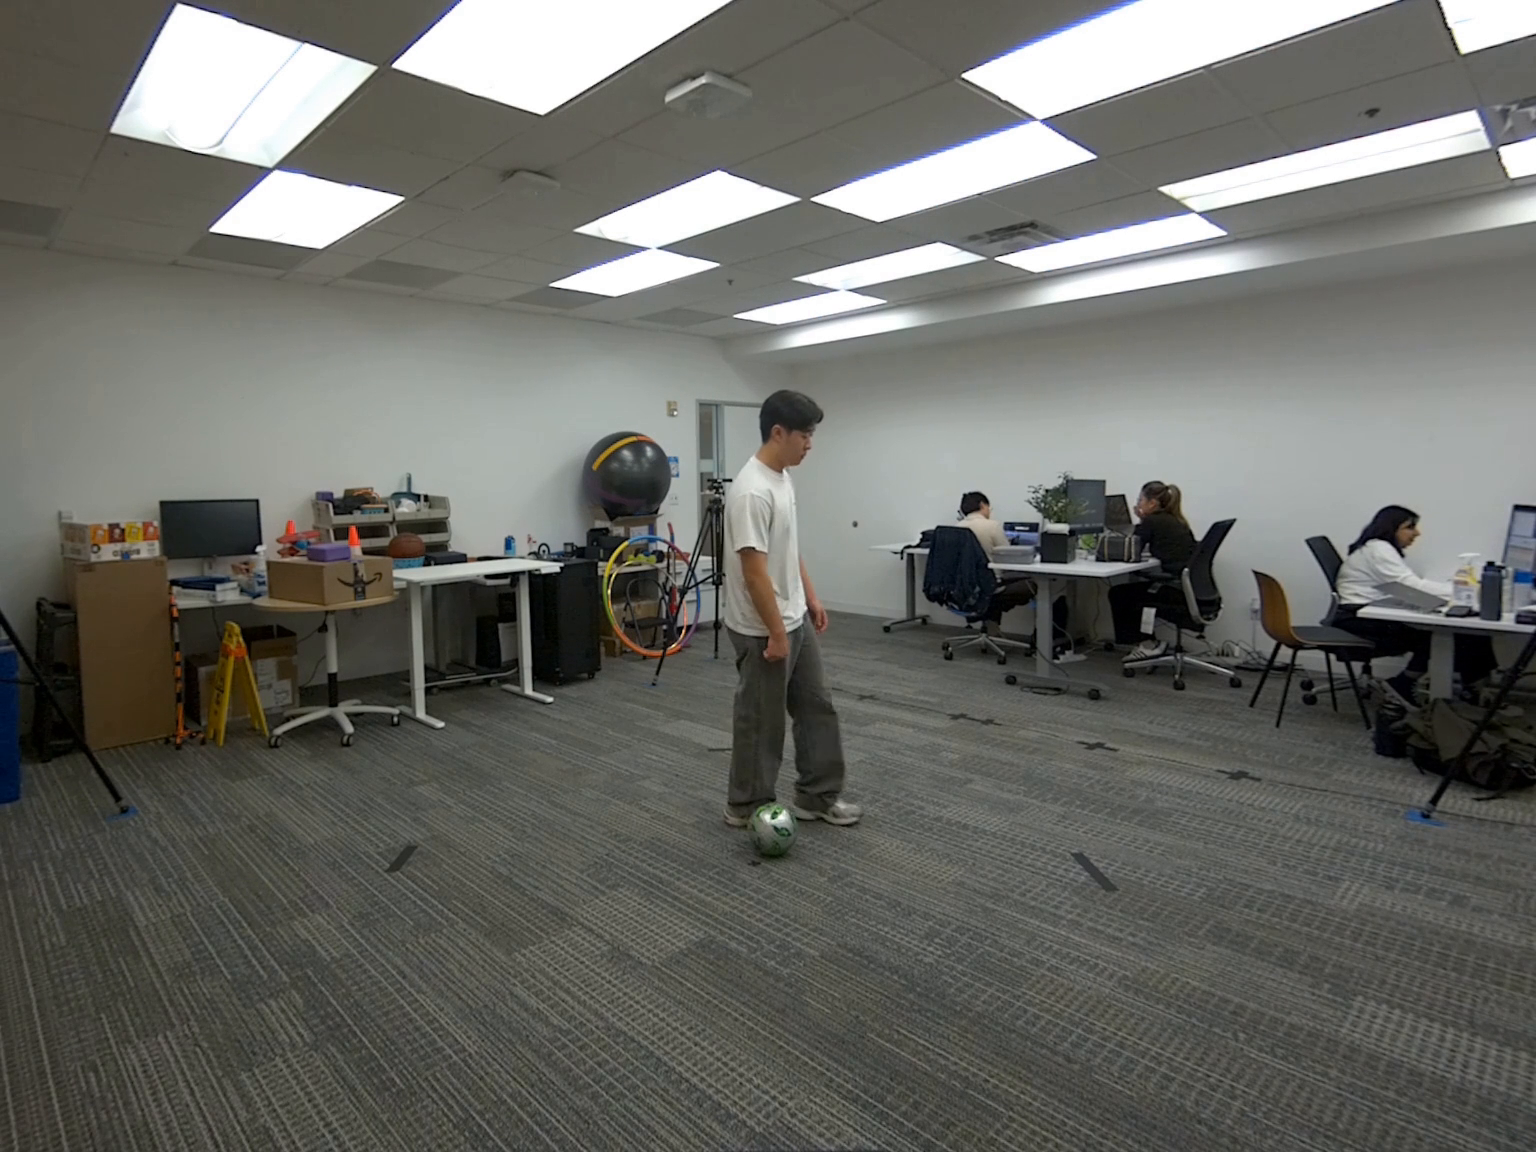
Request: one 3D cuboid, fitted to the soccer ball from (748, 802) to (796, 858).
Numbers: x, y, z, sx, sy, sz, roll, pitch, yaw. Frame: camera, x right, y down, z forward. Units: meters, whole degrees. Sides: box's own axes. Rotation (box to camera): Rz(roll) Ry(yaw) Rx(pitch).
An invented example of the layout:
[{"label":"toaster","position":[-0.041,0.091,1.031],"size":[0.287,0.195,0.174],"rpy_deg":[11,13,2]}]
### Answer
[{"label":"soccer ball","position":[0.016,0.946,3.187],"size":[0.187,0.187,0.188],"rpy_deg":[-1,5,-2]}]
